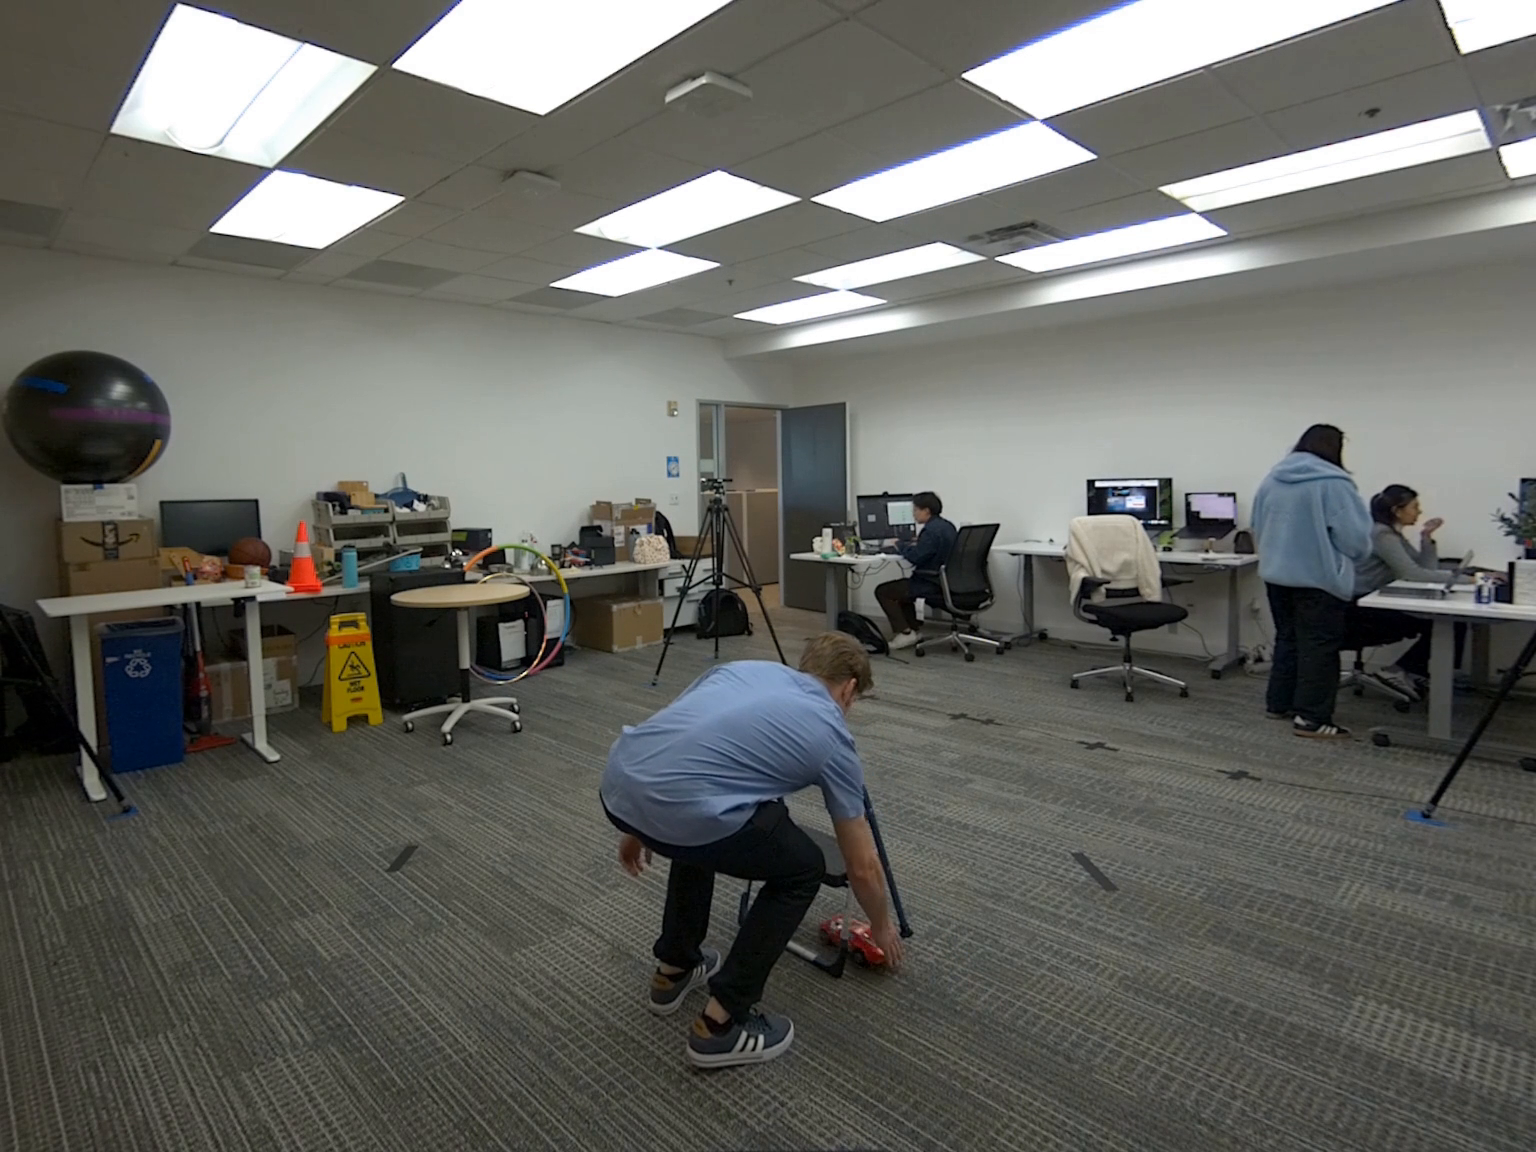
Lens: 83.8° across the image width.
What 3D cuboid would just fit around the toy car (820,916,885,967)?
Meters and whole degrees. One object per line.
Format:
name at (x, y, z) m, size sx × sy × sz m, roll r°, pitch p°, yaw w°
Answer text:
toy car at (0.278, 1.078, 2.509) m, size 0.127 × 0.083 × 0.260 m, roll -4°, pitch -3°, yaw -39°
